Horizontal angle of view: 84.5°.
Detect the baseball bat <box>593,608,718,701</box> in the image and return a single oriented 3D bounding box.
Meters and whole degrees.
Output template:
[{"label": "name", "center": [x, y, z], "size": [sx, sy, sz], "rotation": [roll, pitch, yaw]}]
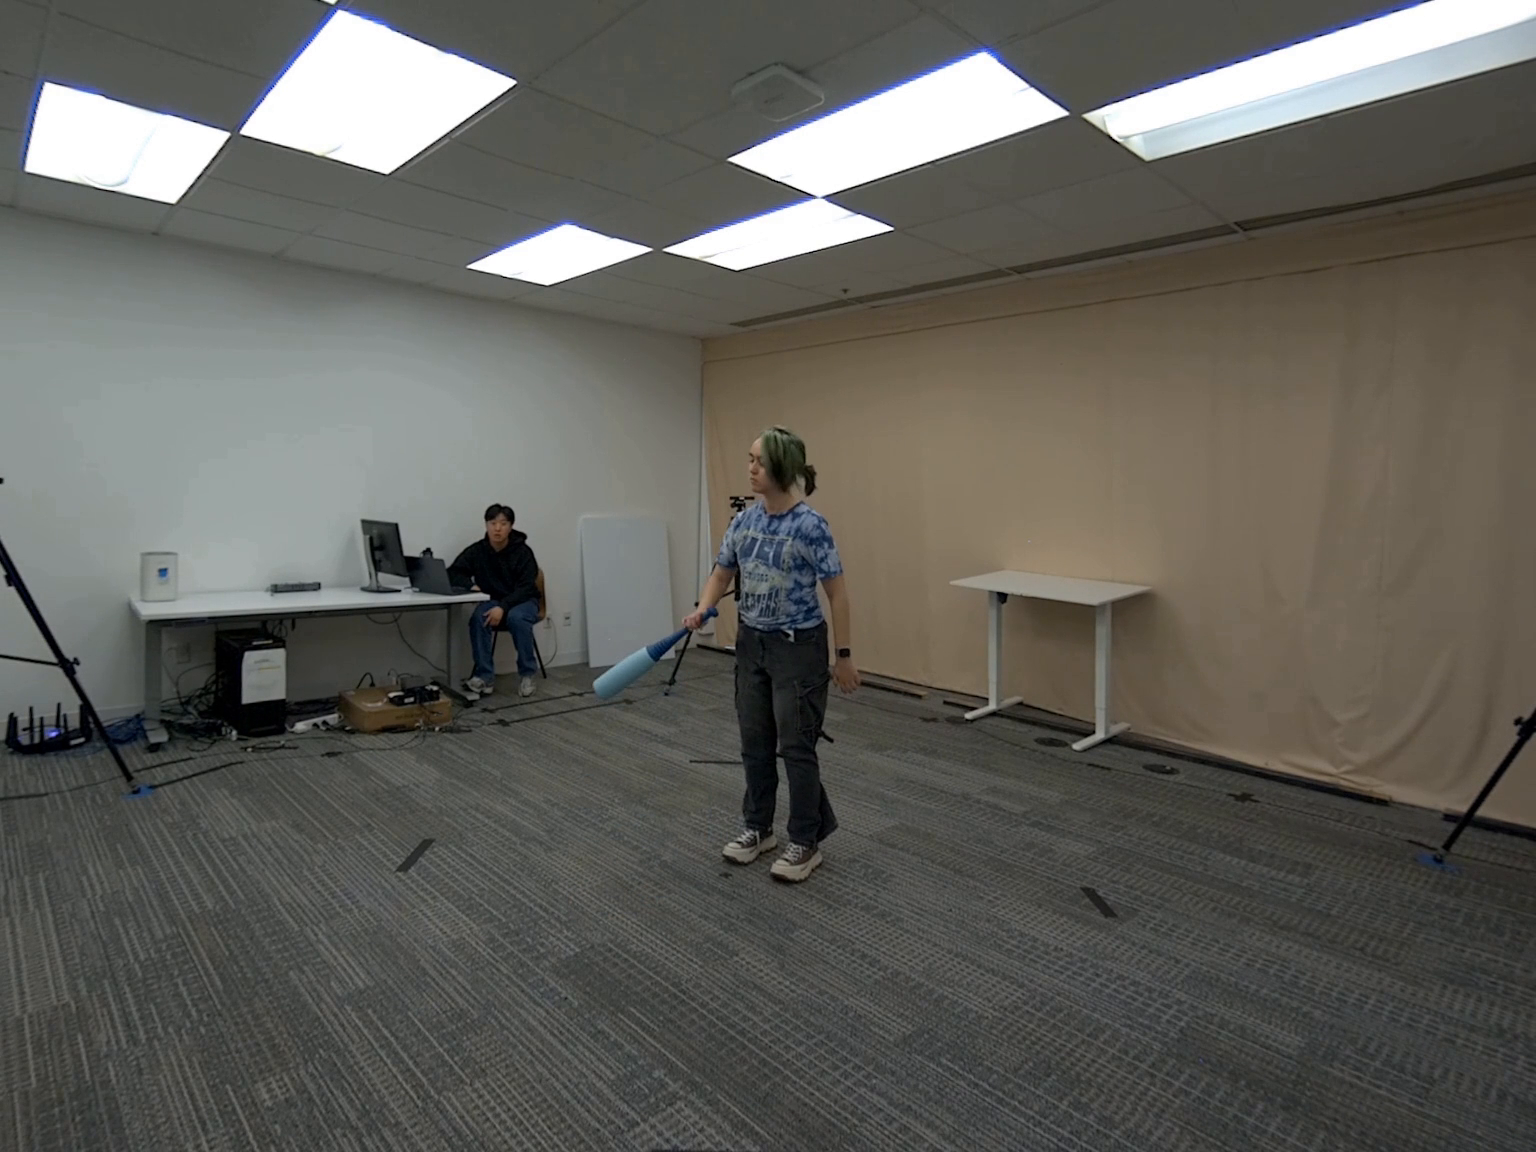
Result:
[{"label": "baseball bat", "center": [-0.402, 0.280, 3.053], "size": [0.544, 0.089, 0.088], "rotation": [-34, -1, 9]}]
